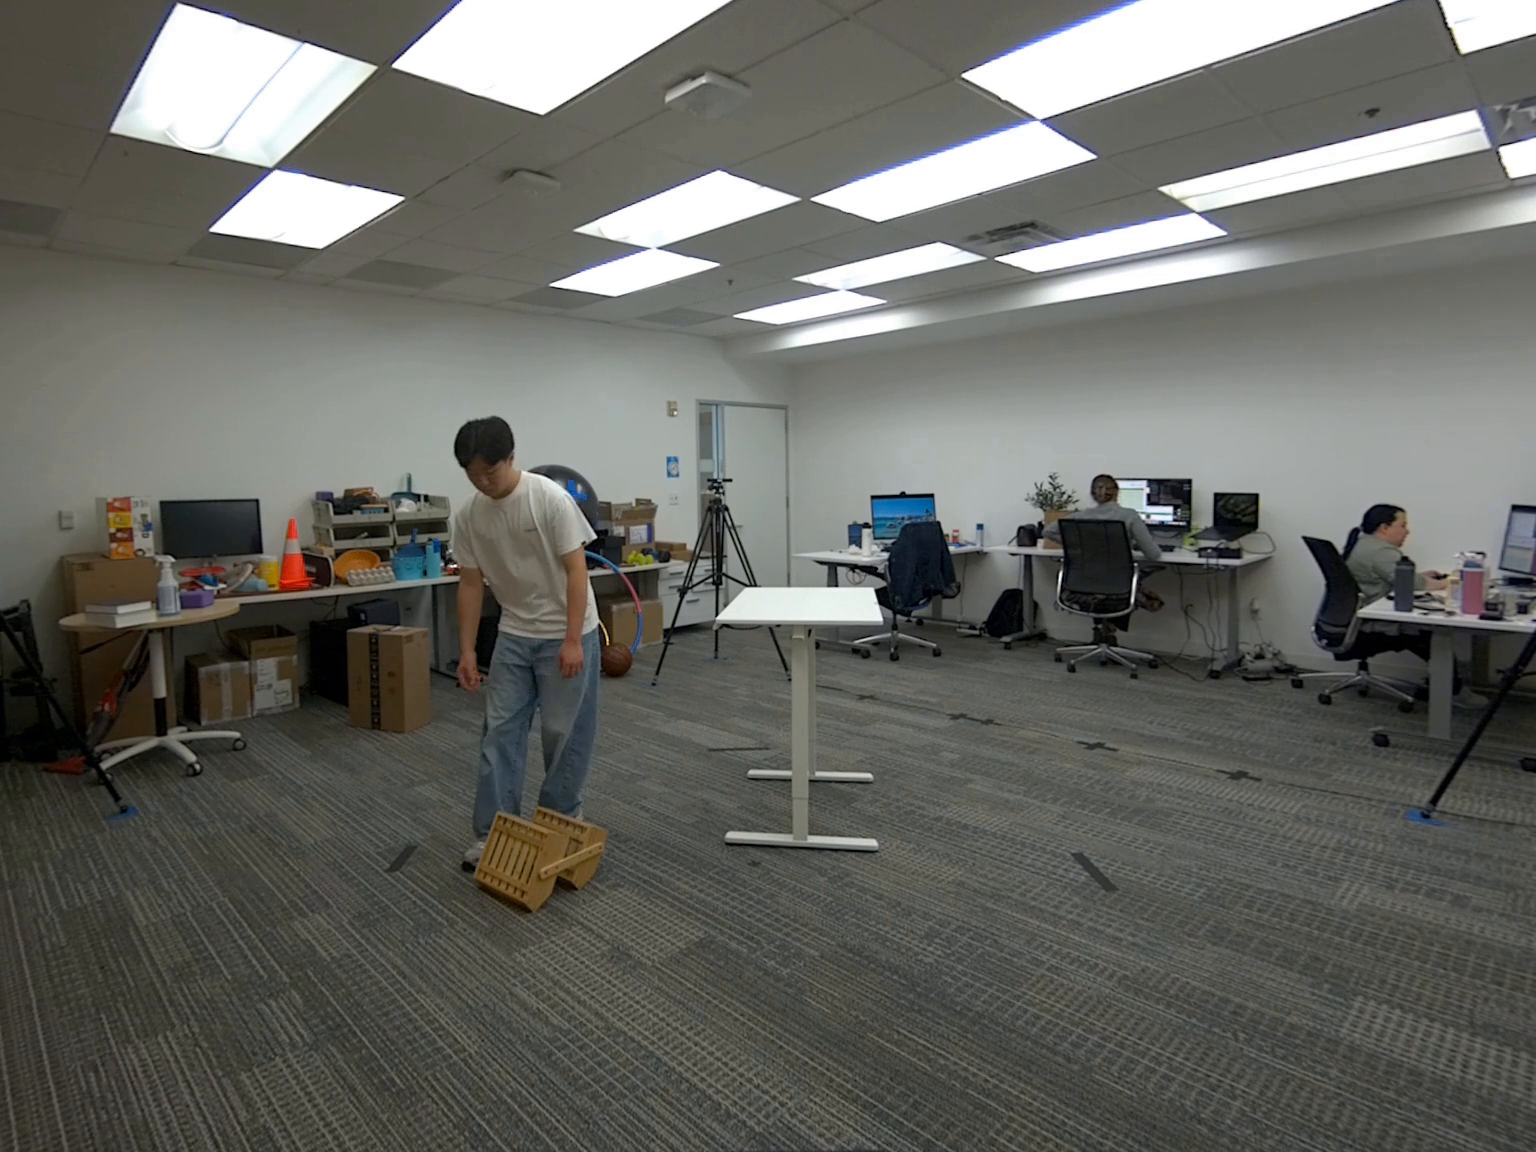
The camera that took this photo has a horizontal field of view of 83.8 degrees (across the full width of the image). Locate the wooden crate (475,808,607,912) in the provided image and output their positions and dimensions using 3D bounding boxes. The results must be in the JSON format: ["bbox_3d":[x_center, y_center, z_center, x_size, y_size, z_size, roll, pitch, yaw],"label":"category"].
[{"bbox_3d":[-0.791,0.985,2.991,0.334,0.305,0.263,3,-21,38],"label":"wooden crate"}]
